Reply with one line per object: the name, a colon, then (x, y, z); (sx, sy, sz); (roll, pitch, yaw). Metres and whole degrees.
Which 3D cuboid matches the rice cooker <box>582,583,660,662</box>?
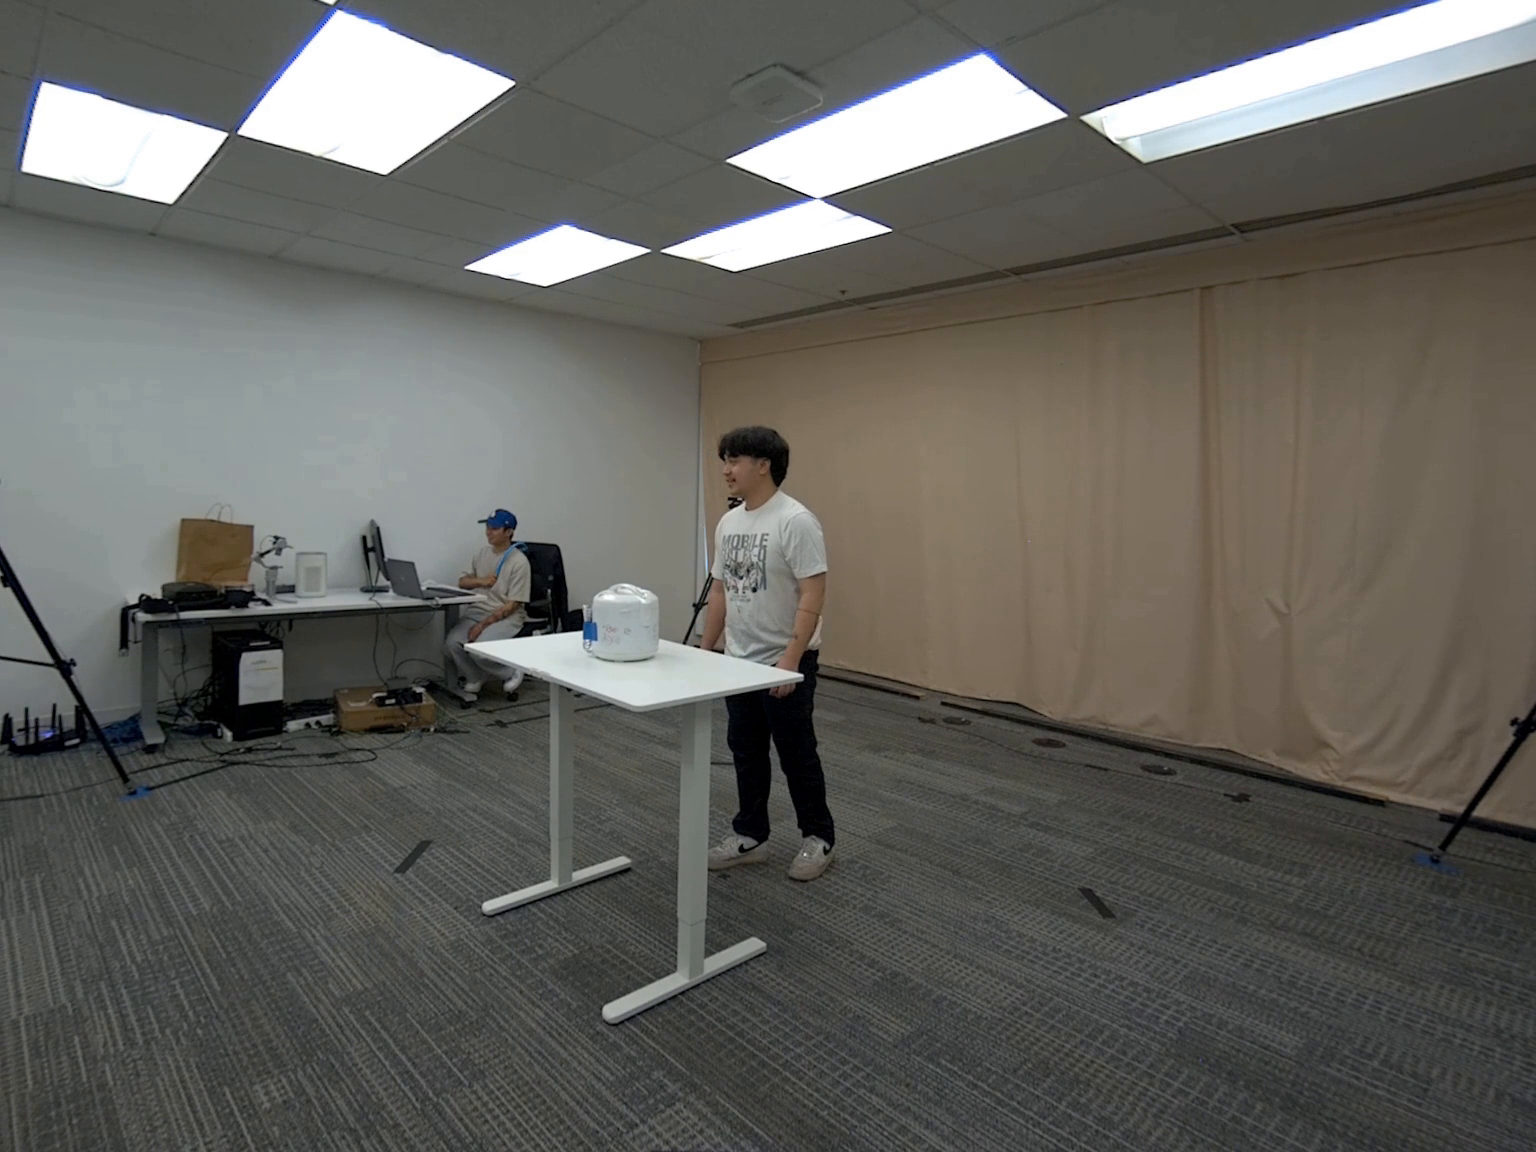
rice cooker: (-0.460, 0.142, 2.658); (0.212, 0.232, 0.226); (-5, 8, -45)
